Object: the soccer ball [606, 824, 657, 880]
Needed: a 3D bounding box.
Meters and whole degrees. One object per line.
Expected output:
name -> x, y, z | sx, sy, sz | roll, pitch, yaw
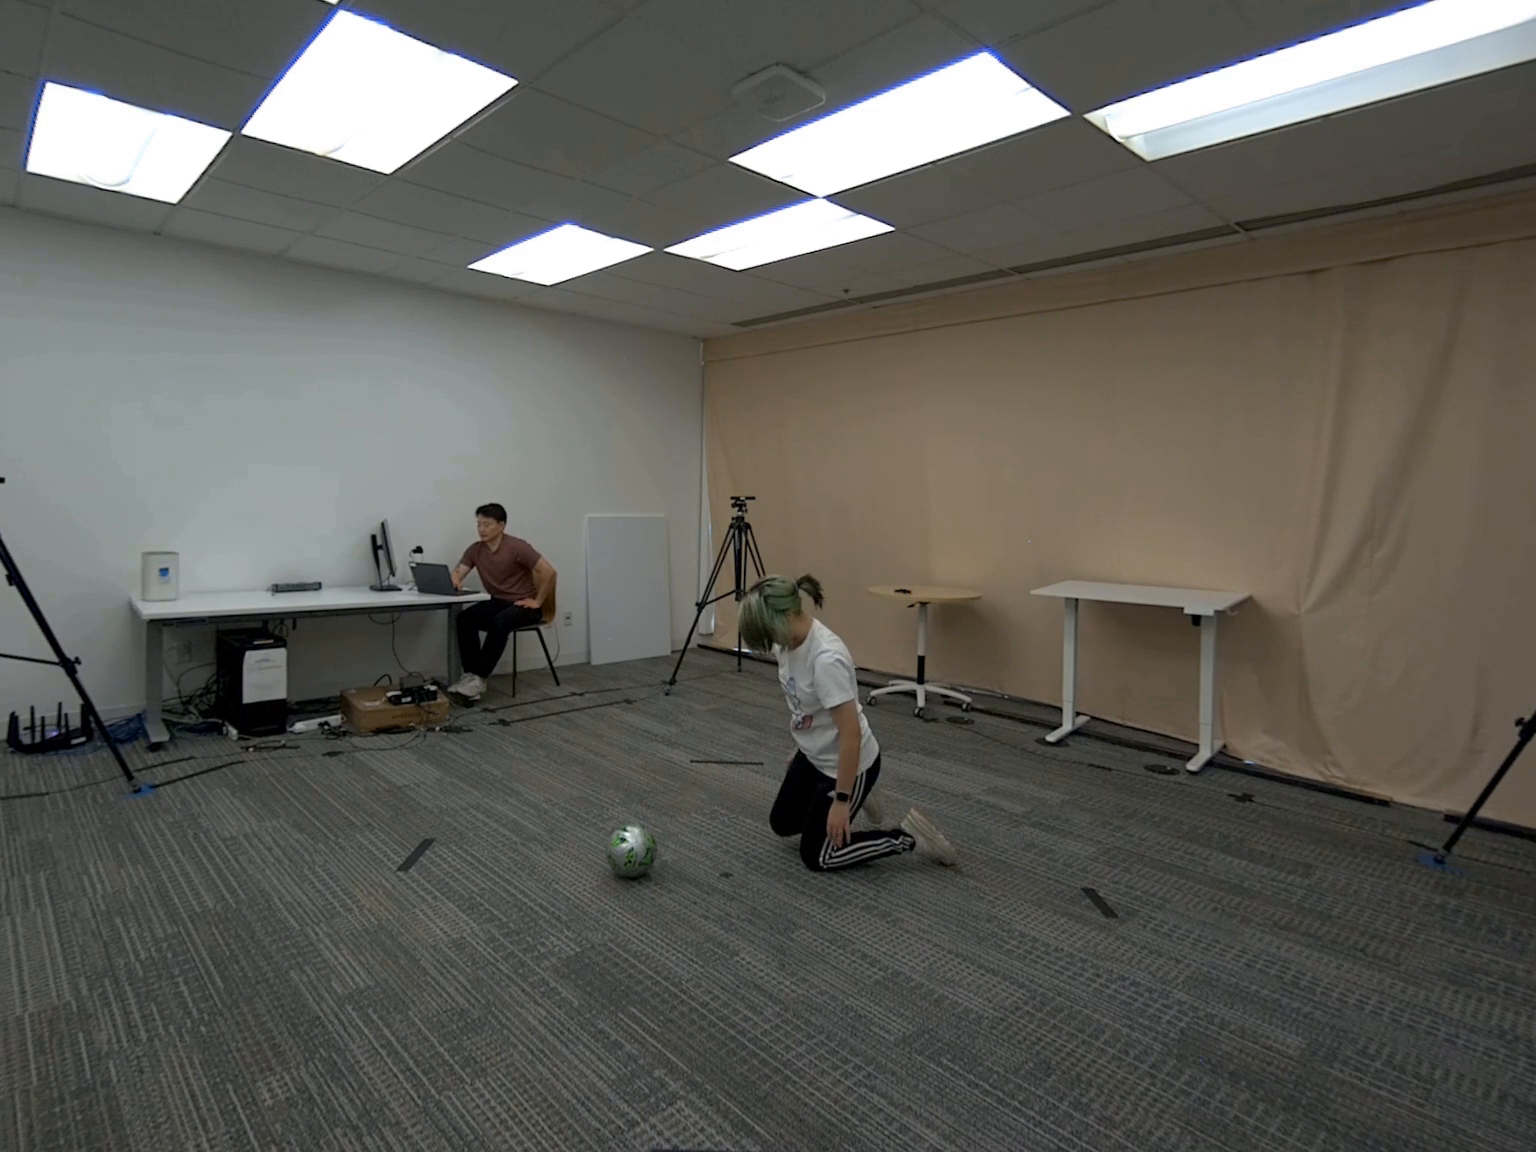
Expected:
soccer ball -> -0.501, 1.002, 3.082 | 0.187, 0.187, 0.188 | 1, 4, -1
